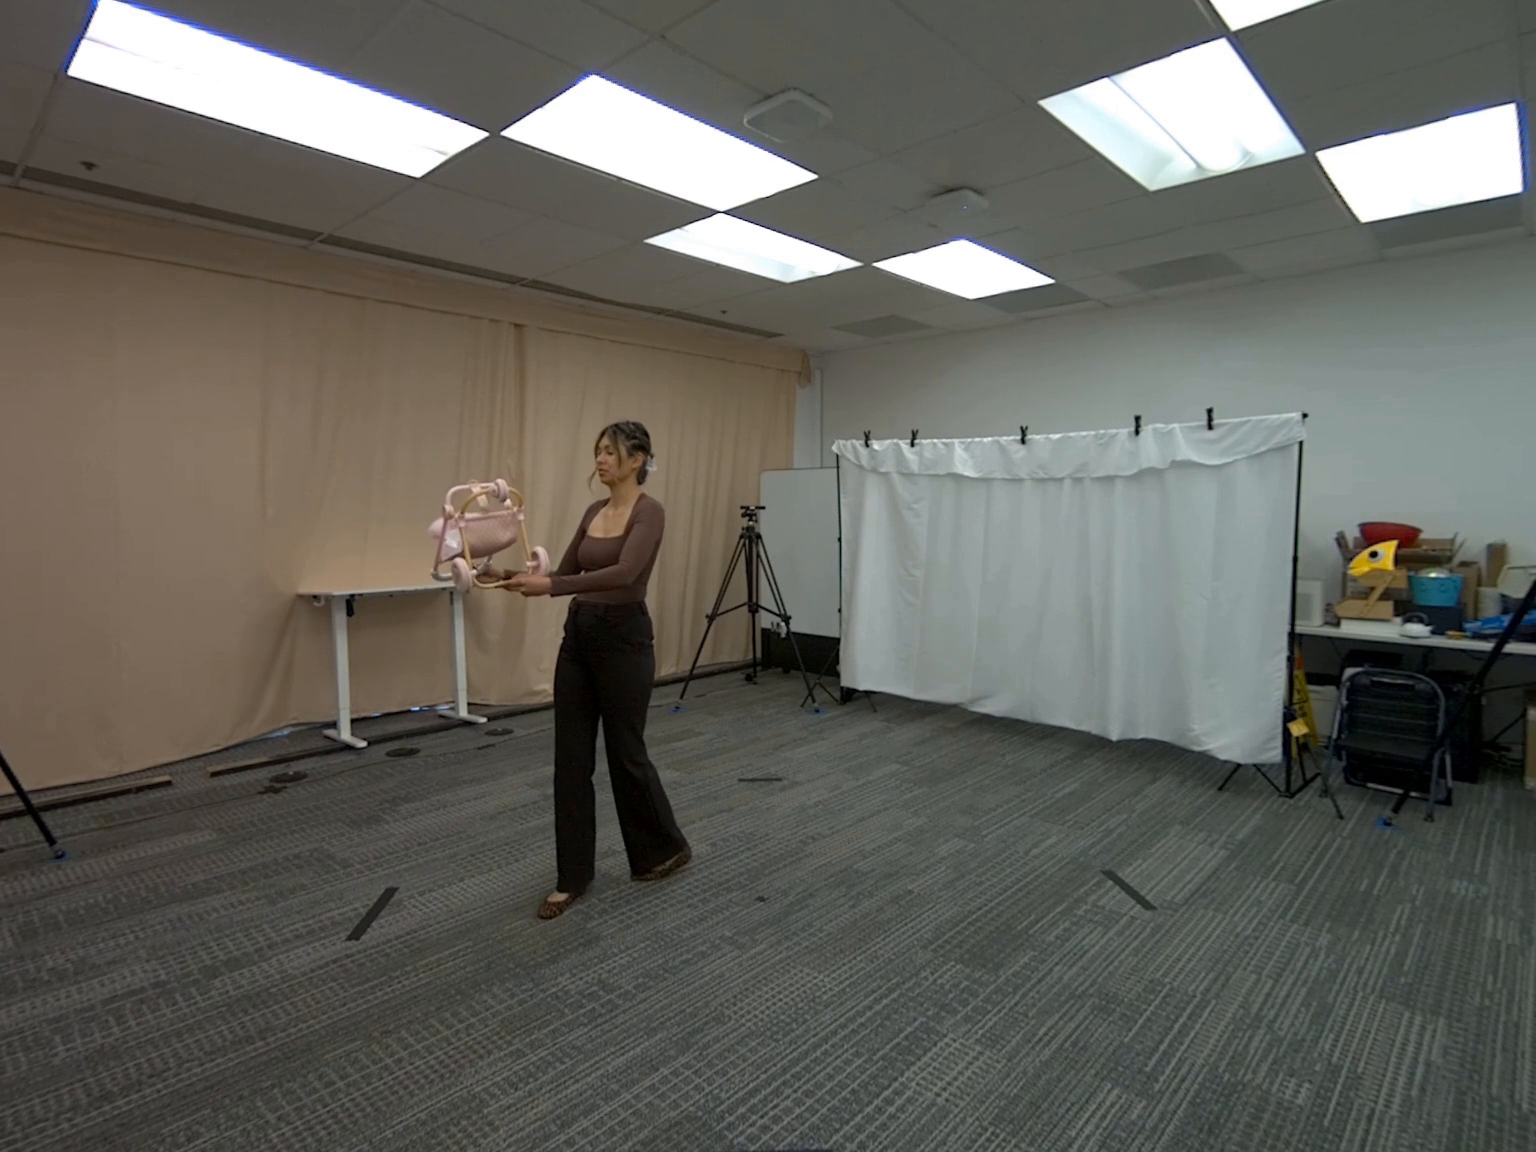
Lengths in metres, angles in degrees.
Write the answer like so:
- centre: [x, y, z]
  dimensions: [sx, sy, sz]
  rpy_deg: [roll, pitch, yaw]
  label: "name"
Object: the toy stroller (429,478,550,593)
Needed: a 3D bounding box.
- centre: [-0.918, -0.133, 2.659]
  dimensions: [0.274, 0.339, 0.552]
  rpy_deg: [-15, 12, -35]
  label: "toy stroller"
